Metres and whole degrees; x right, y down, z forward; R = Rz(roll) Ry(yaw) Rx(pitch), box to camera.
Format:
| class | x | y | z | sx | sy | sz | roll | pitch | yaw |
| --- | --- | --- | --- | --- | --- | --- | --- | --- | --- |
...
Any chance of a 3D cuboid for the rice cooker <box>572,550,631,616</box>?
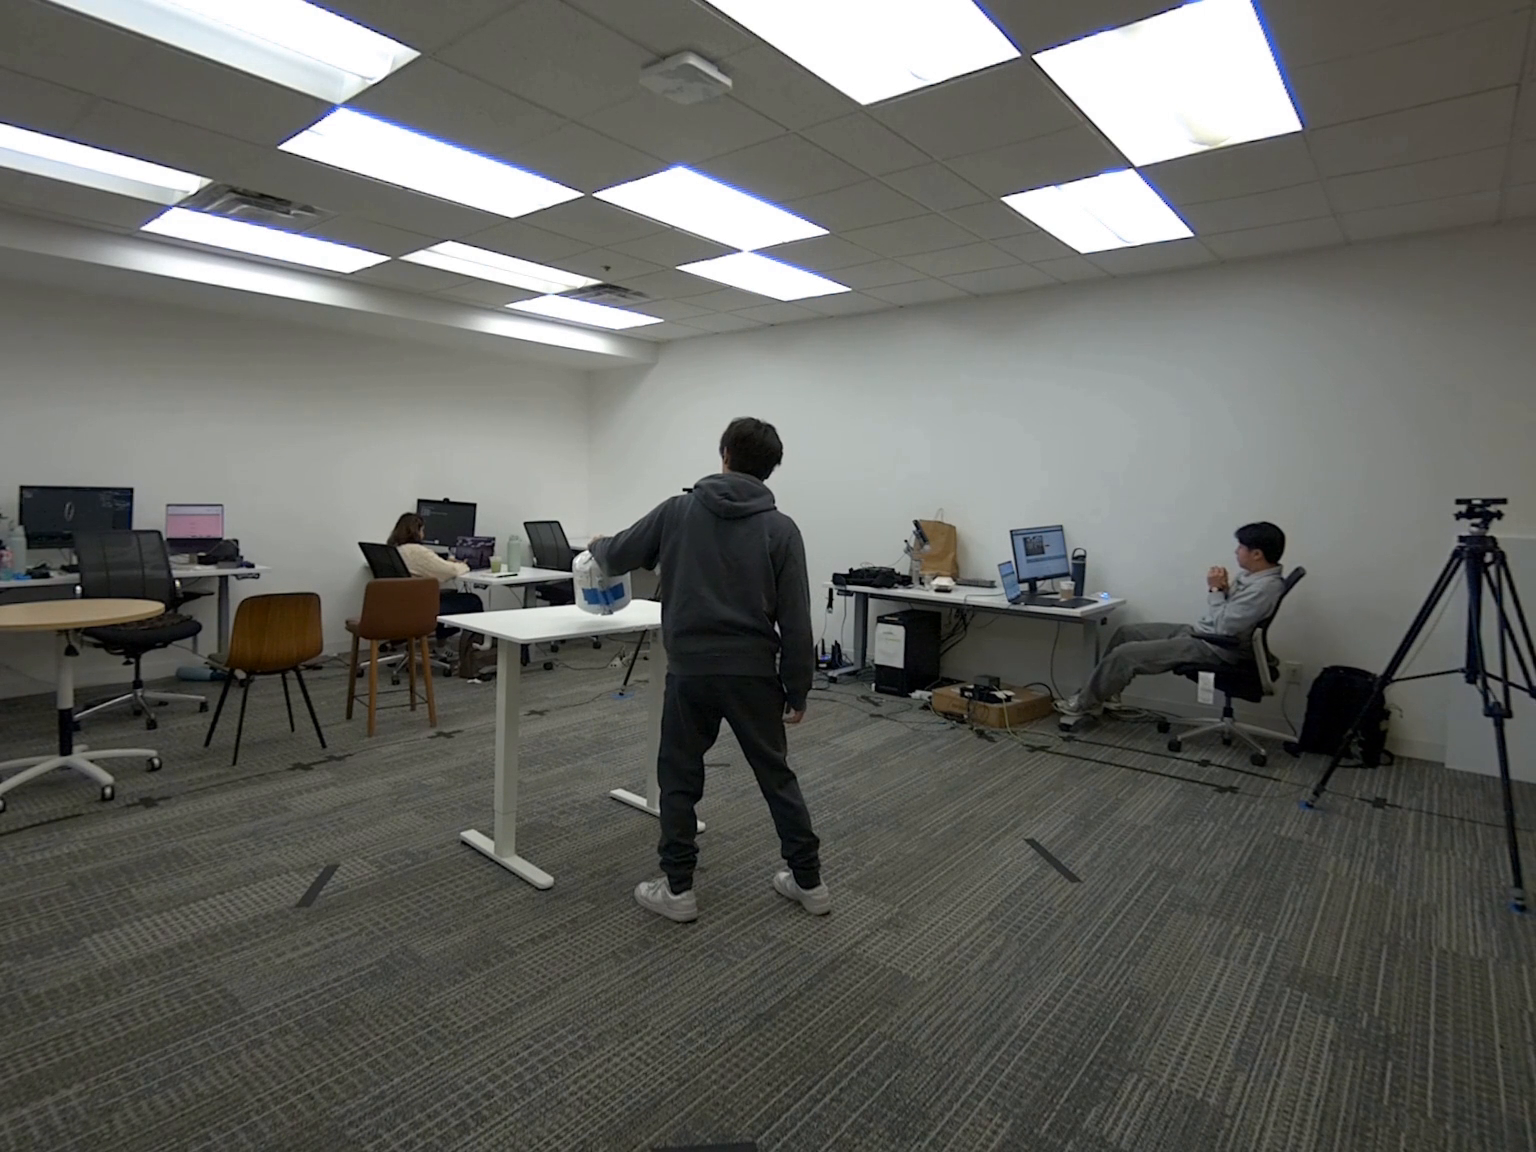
| class | x | y | z | sx | sy | sz | roll | pitch | yaw |
| --- | --- | --- | --- | --- | --- | --- | --- | --- | --- |
| rice cooker | -0.632 | 0.007 | 3.162 | 0.224 | 0.229 | 0.217 | 10 | 19 | 31 |
